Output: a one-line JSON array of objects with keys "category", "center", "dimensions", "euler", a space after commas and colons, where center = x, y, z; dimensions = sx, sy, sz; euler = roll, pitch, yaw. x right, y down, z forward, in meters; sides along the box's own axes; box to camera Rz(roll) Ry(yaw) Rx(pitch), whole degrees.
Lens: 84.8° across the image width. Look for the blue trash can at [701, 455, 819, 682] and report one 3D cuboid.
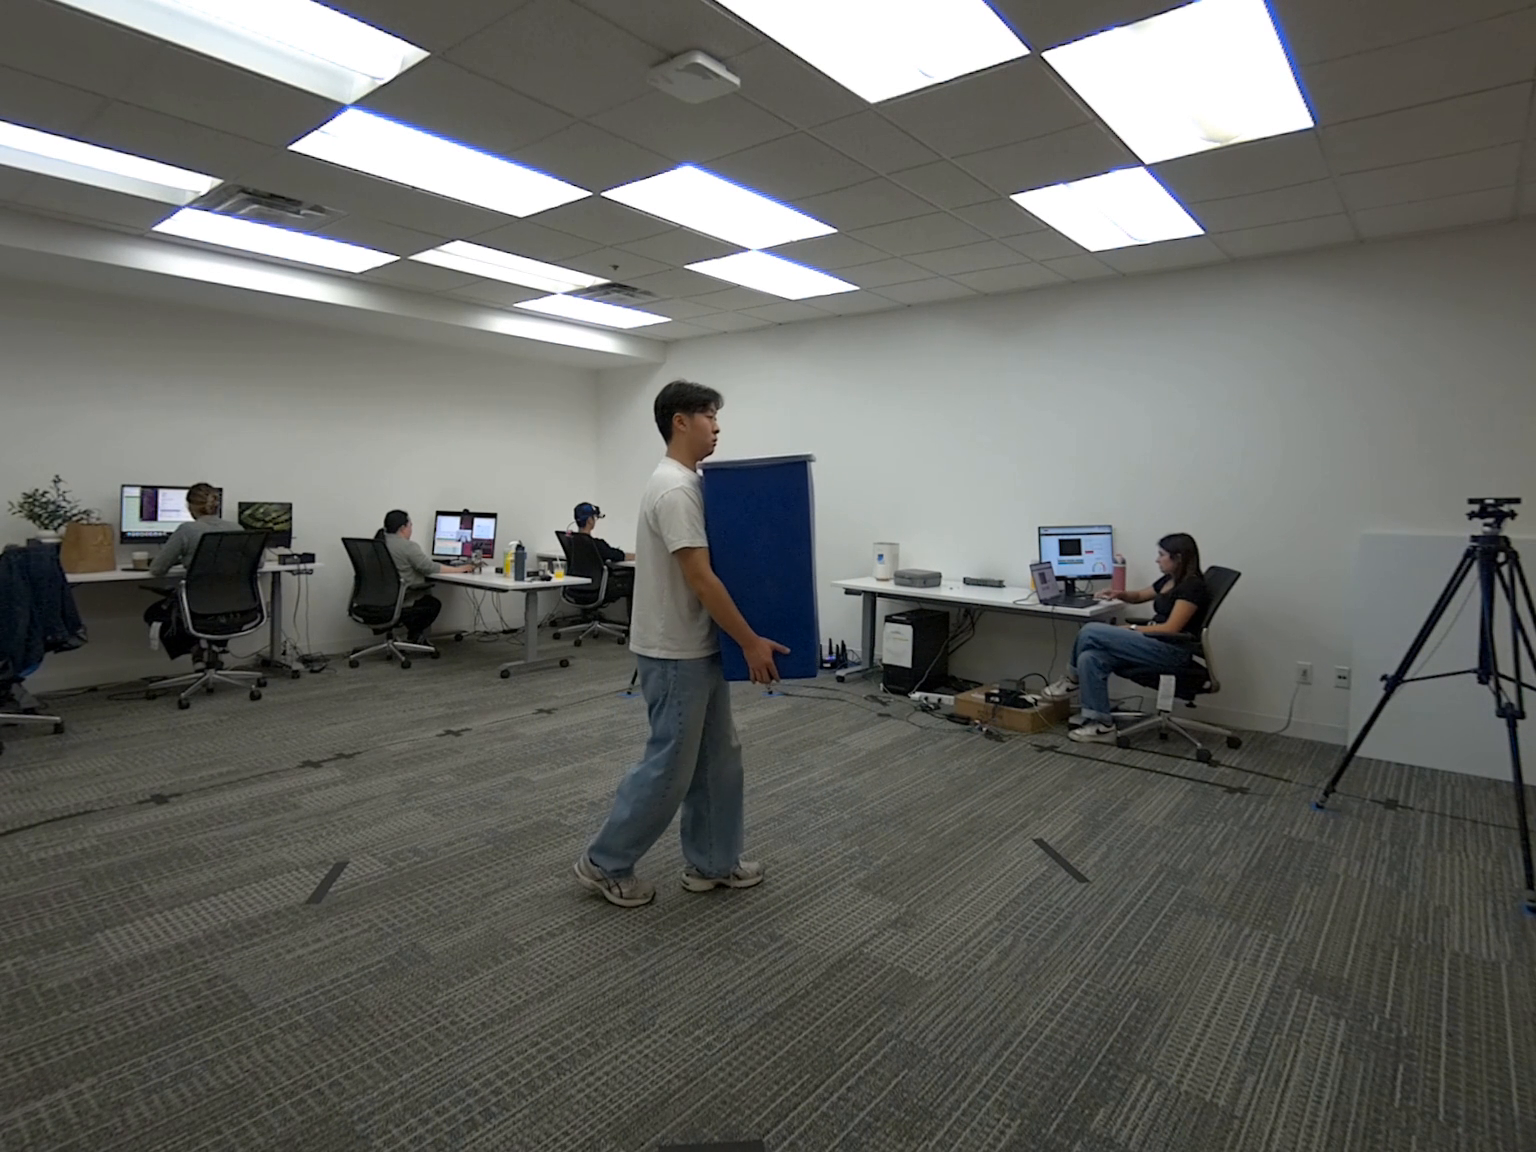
[{"category": "blue trash can", "center": [-0.012, -0.044, 2.842], "dimensions": [0.381, 0.713, 0.372], "euler": [-4, 2, 7]}]
